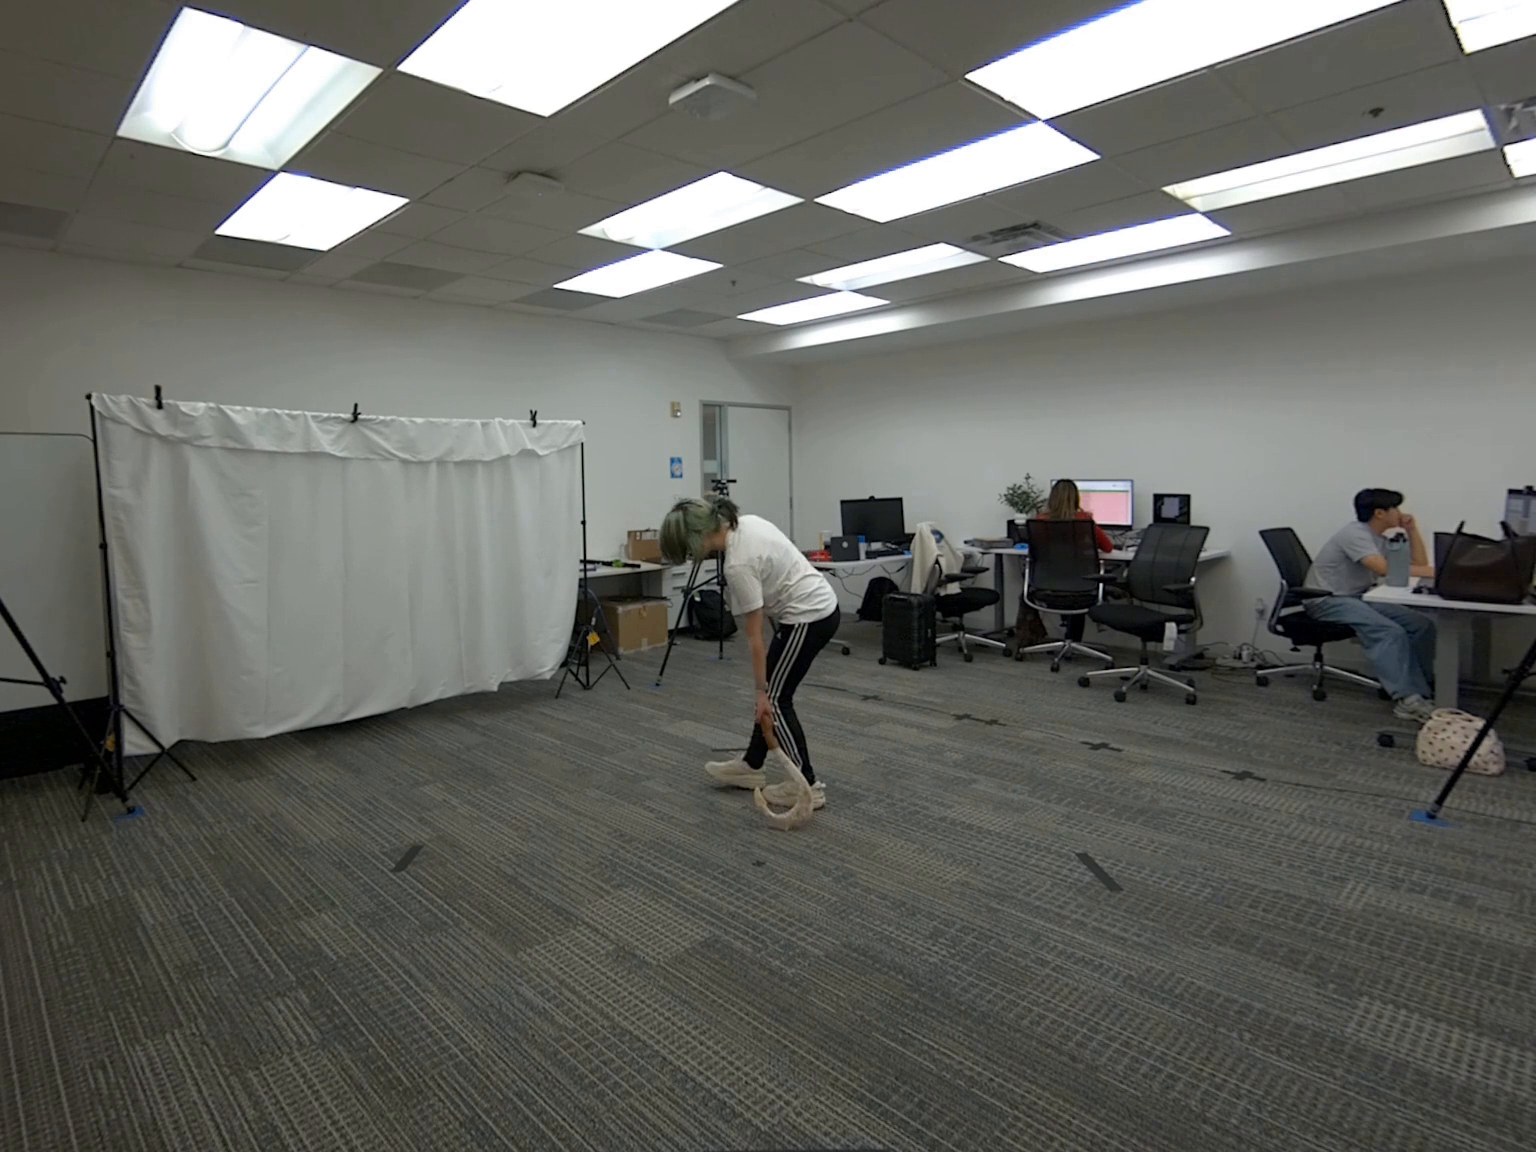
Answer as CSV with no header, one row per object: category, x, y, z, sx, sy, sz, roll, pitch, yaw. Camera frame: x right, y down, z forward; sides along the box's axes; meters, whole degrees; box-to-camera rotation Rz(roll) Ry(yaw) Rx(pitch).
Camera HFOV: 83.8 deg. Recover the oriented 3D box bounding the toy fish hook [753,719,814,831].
toy fish hook,0.004,0.774,3.473,0.224,0.518,0.047,-21,-19,-6
